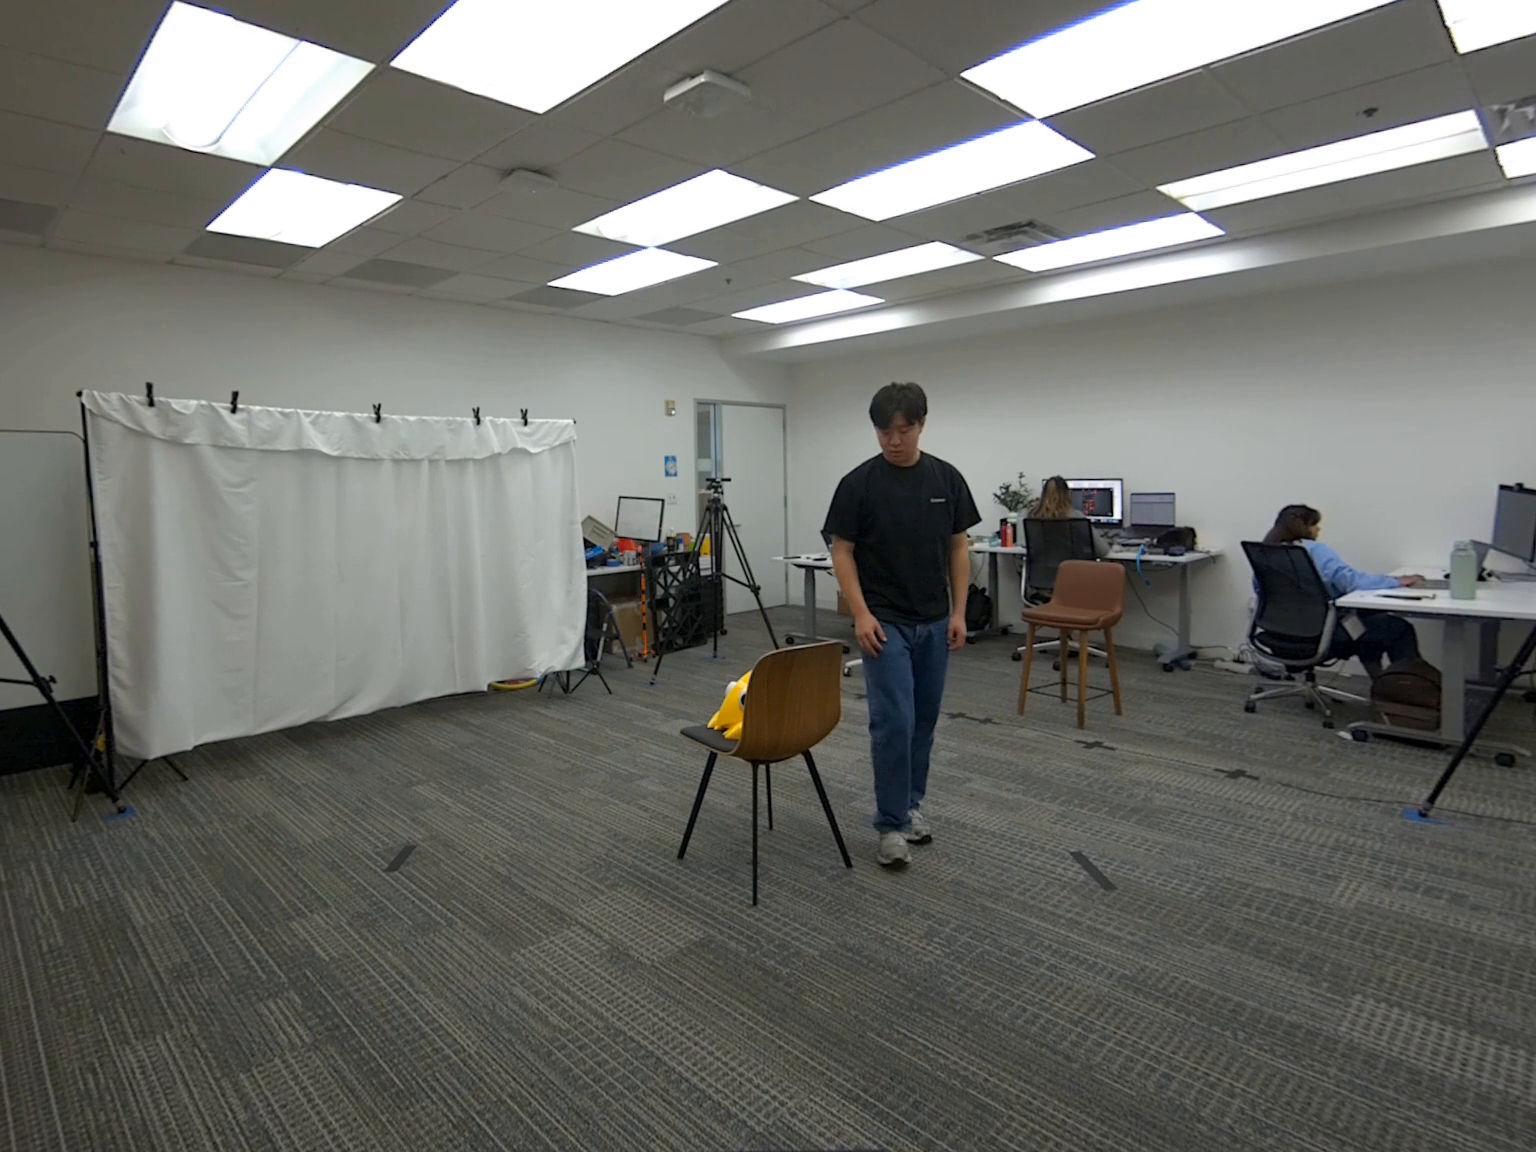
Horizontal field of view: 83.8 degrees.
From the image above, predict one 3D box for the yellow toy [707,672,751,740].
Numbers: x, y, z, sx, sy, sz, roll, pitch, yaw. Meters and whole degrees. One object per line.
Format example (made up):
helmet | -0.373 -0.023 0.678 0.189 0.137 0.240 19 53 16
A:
yellow toy | -0.091 0.449 3.100 0.188 0.230 0.211 2 6 -32
